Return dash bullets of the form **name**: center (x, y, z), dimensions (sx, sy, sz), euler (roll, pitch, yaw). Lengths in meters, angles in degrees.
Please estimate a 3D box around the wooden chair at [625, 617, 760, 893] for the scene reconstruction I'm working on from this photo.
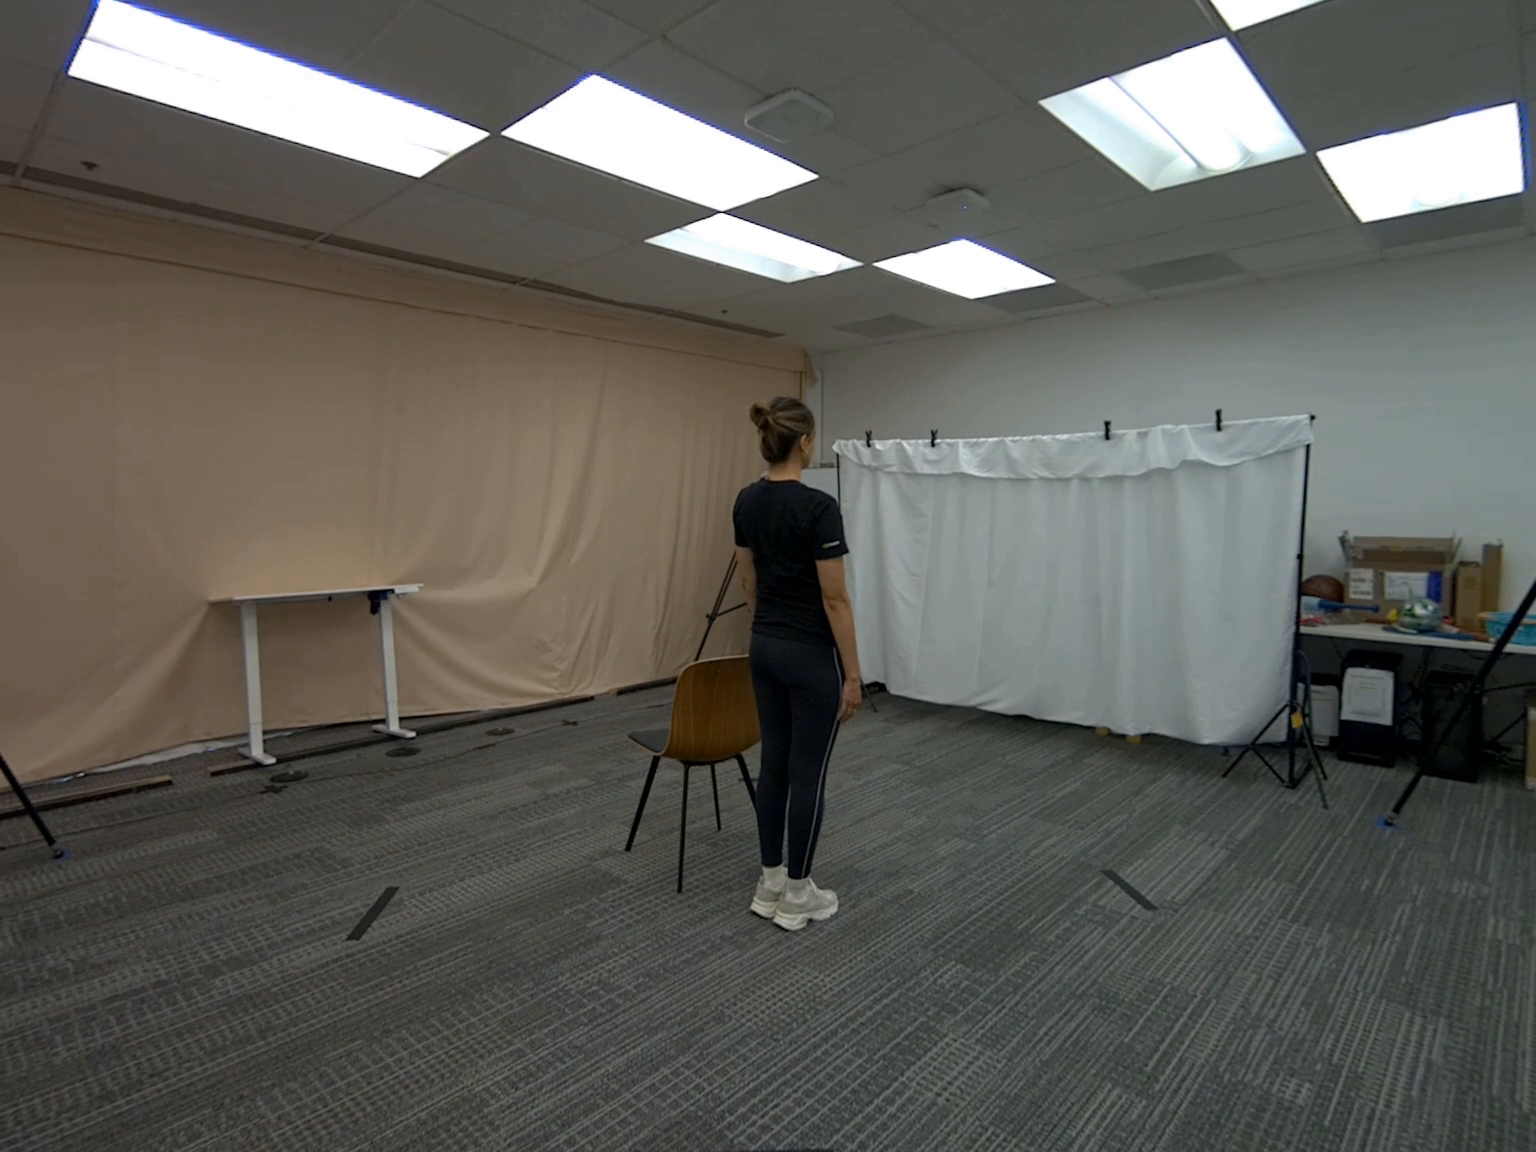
- **wooden chair**: center (-0.275, 0.691, 3.313), dimensions (0.465, 0.874, 0.540), euler (-3, 8, -33)
